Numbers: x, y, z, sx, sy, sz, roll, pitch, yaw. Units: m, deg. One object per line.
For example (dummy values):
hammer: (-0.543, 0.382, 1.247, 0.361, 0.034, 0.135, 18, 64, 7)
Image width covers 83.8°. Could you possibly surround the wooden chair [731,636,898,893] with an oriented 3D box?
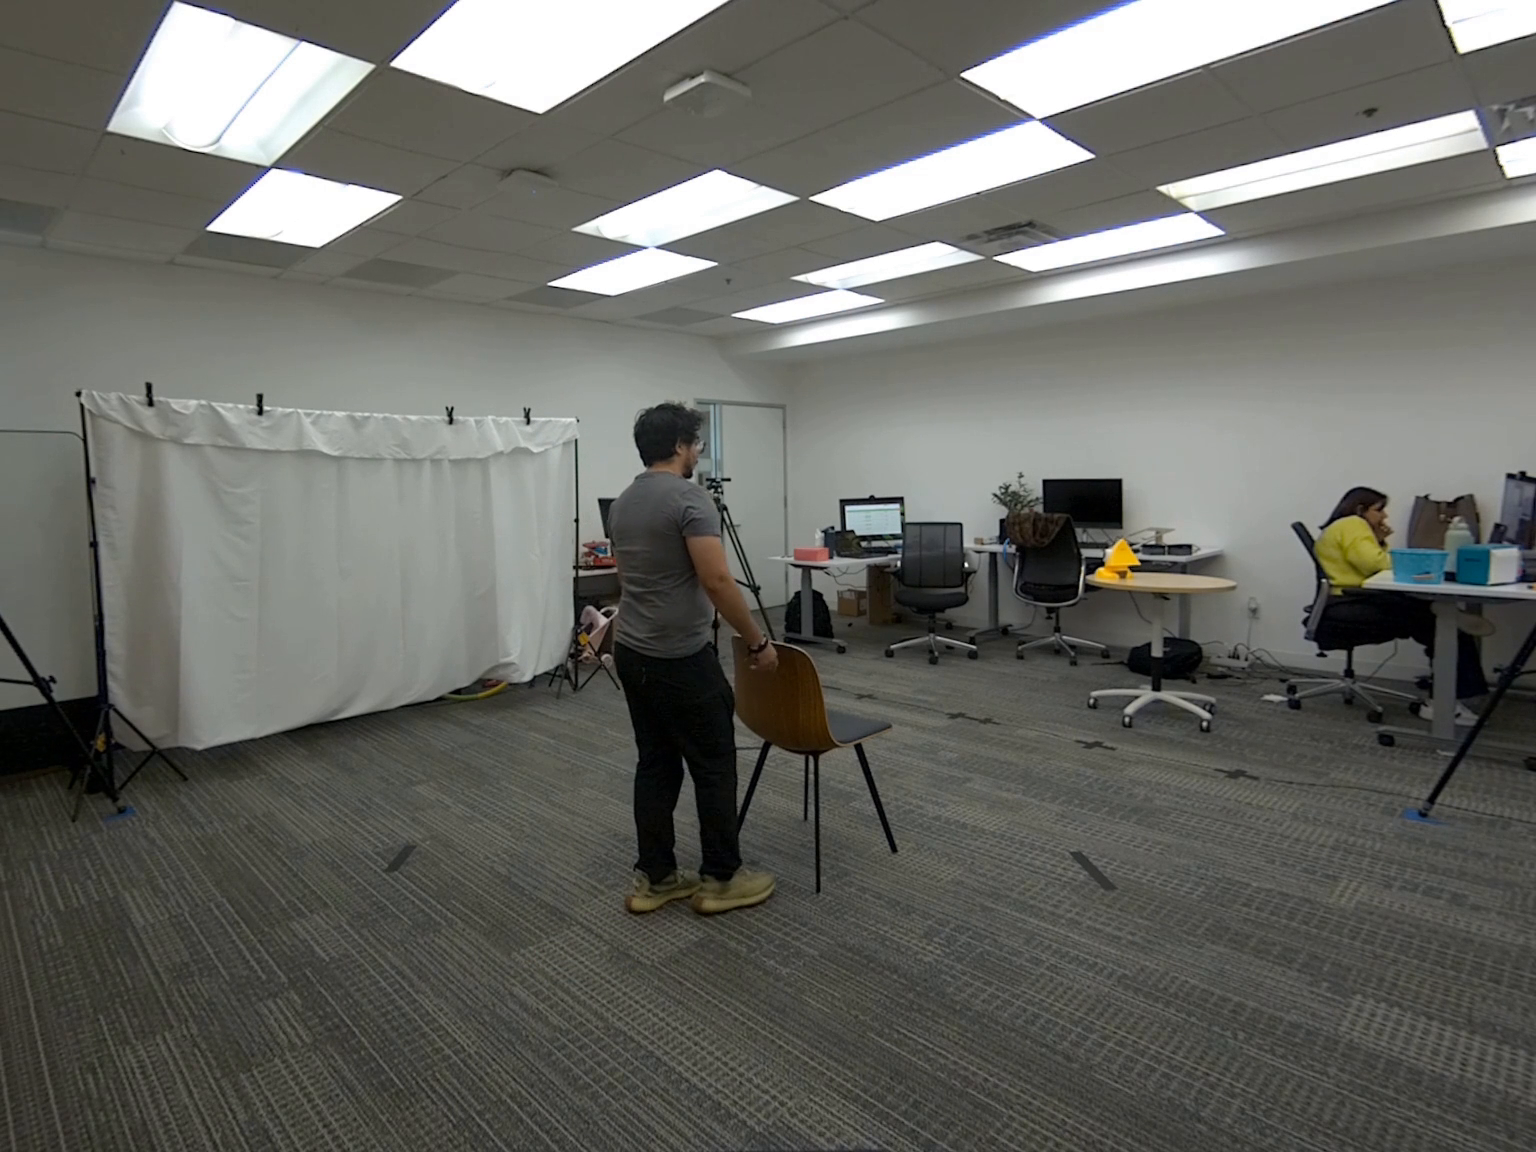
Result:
wooden chair: (0.162, 0.604, 3.159, 0.493, 0.871, 0.511, 3, 10, 45)
